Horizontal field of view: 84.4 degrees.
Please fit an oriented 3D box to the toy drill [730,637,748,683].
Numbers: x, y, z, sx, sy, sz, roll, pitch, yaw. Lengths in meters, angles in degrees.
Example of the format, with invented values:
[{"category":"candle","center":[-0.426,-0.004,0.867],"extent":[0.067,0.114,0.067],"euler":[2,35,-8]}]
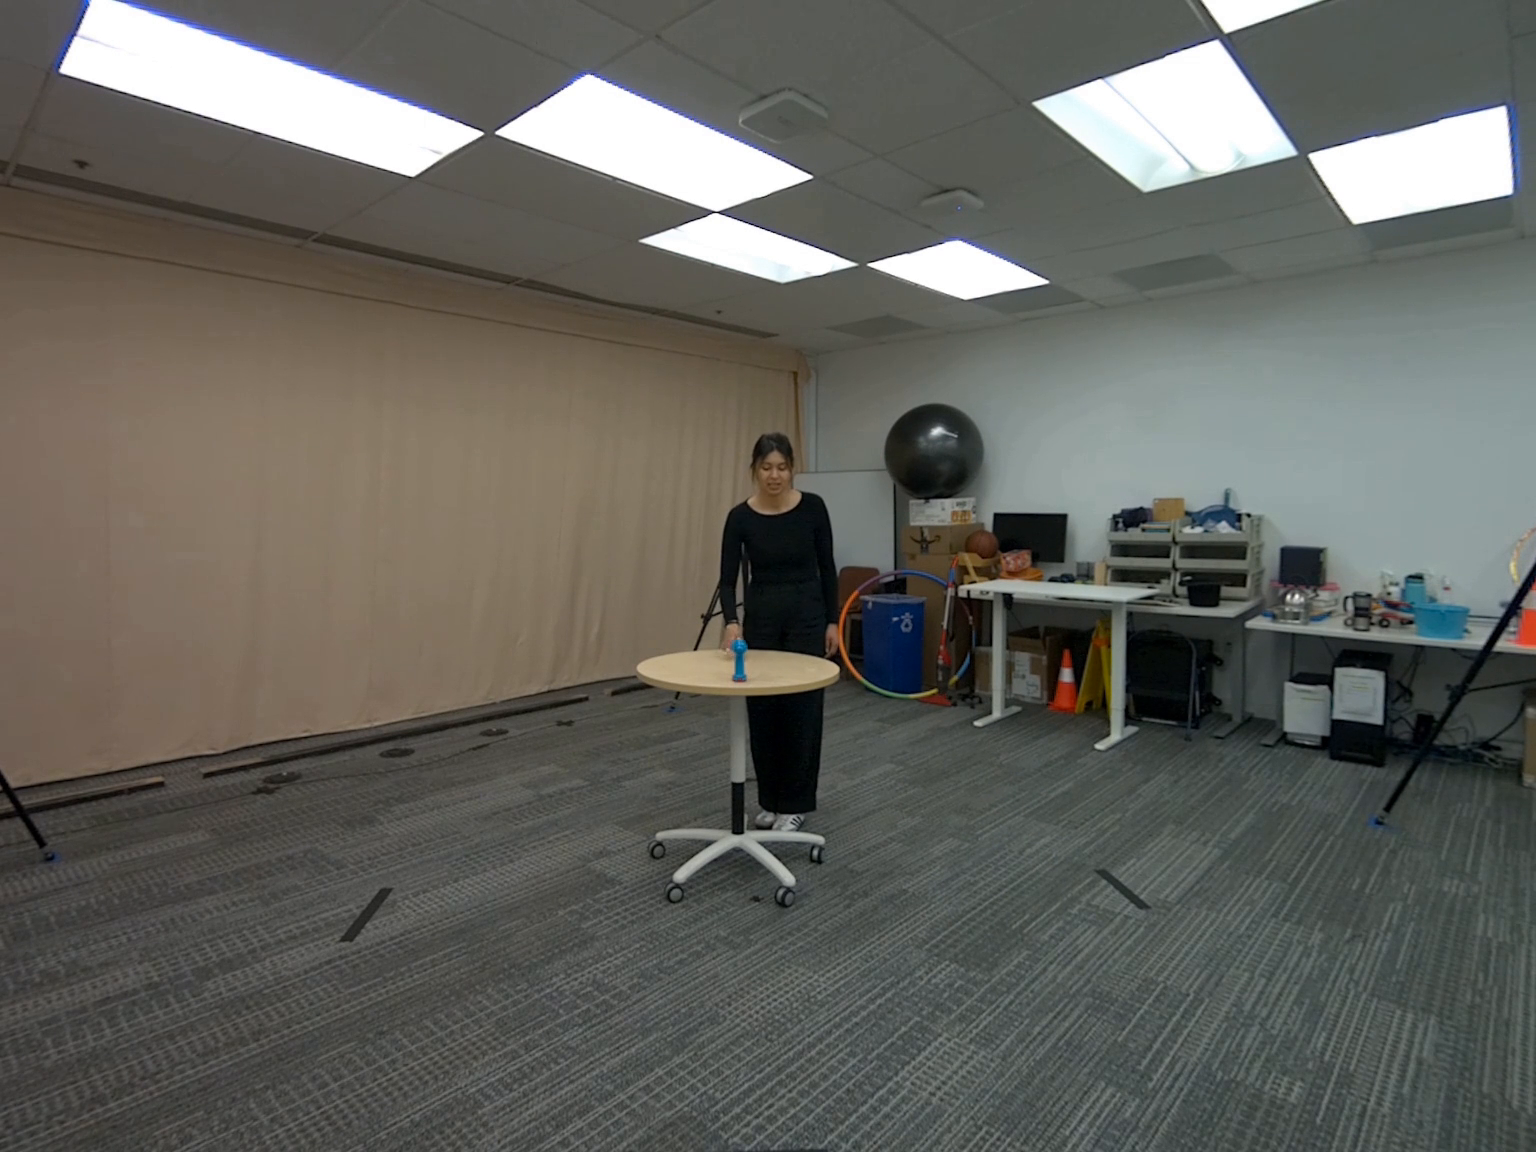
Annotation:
[{"category":"toy drill","center":[-0.104,0.287,2.973],"extent":[0.061,0.146,0.171],"euler":[0,3,-6]}]
